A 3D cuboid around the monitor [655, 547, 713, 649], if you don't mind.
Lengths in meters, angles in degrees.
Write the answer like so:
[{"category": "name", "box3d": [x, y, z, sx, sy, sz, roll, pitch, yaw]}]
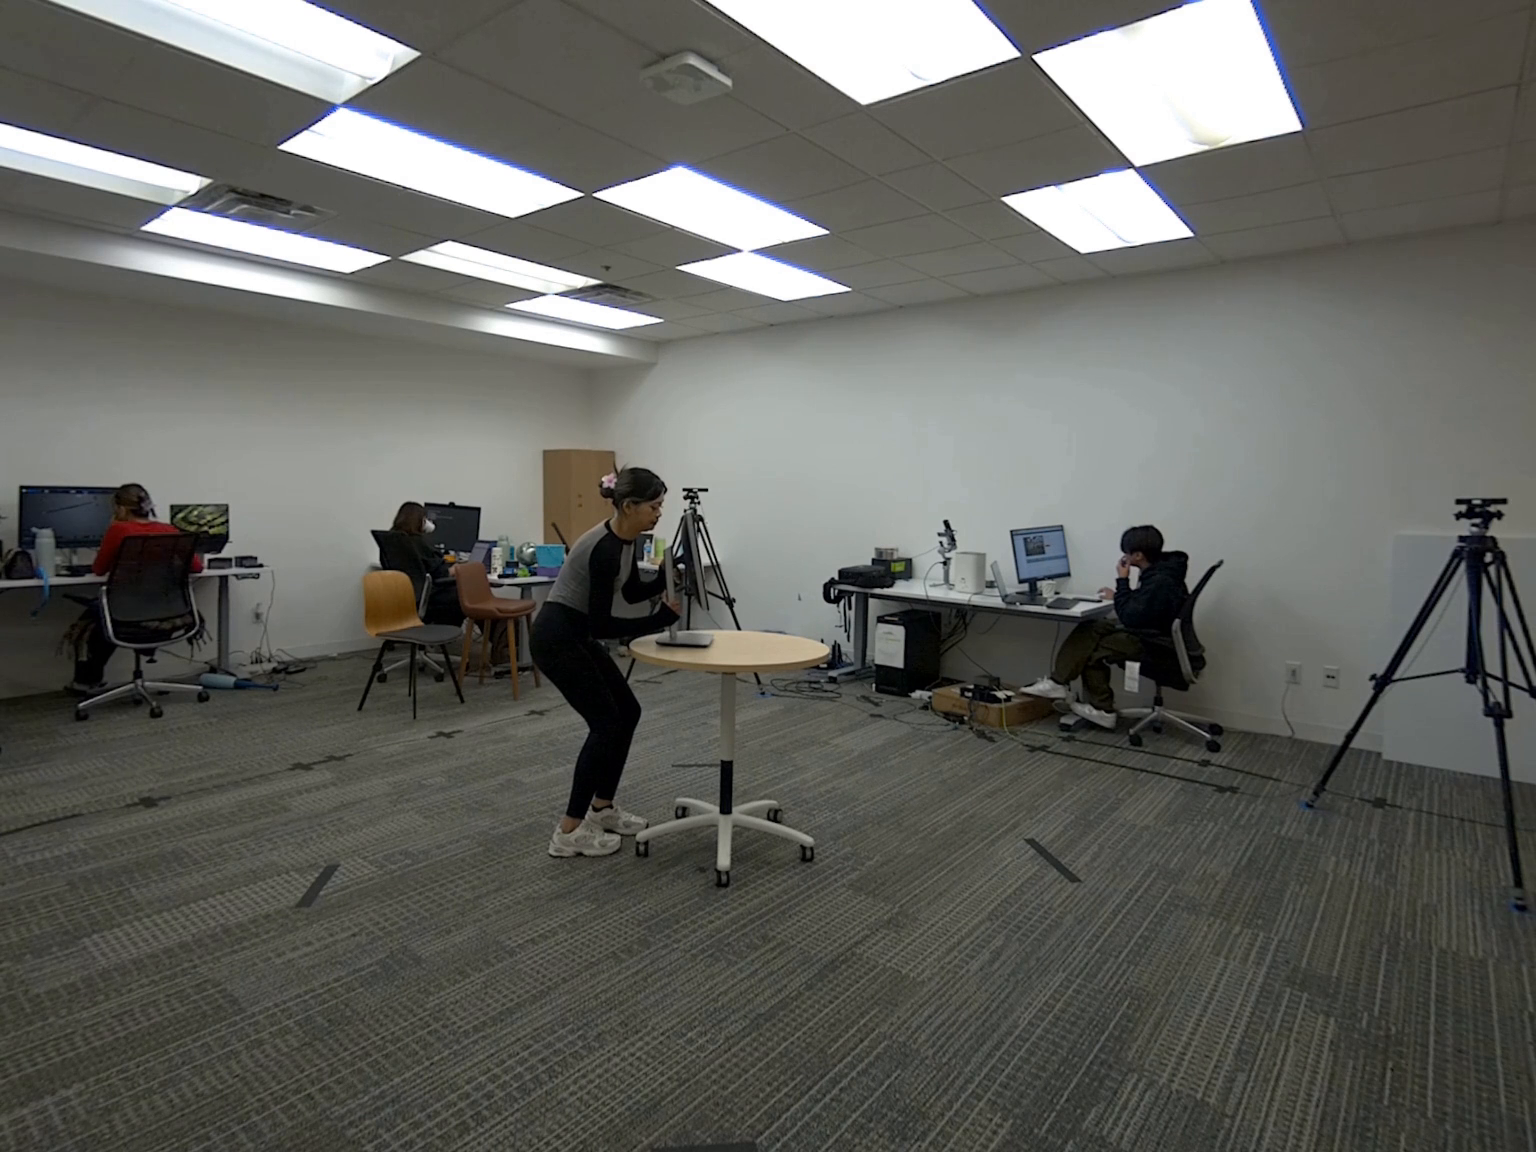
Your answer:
[{"category": "monitor", "box3d": [-0.329, 0.007, 3.298, 0.186, 0.521, 0.543, 3, 3, -6]}]
